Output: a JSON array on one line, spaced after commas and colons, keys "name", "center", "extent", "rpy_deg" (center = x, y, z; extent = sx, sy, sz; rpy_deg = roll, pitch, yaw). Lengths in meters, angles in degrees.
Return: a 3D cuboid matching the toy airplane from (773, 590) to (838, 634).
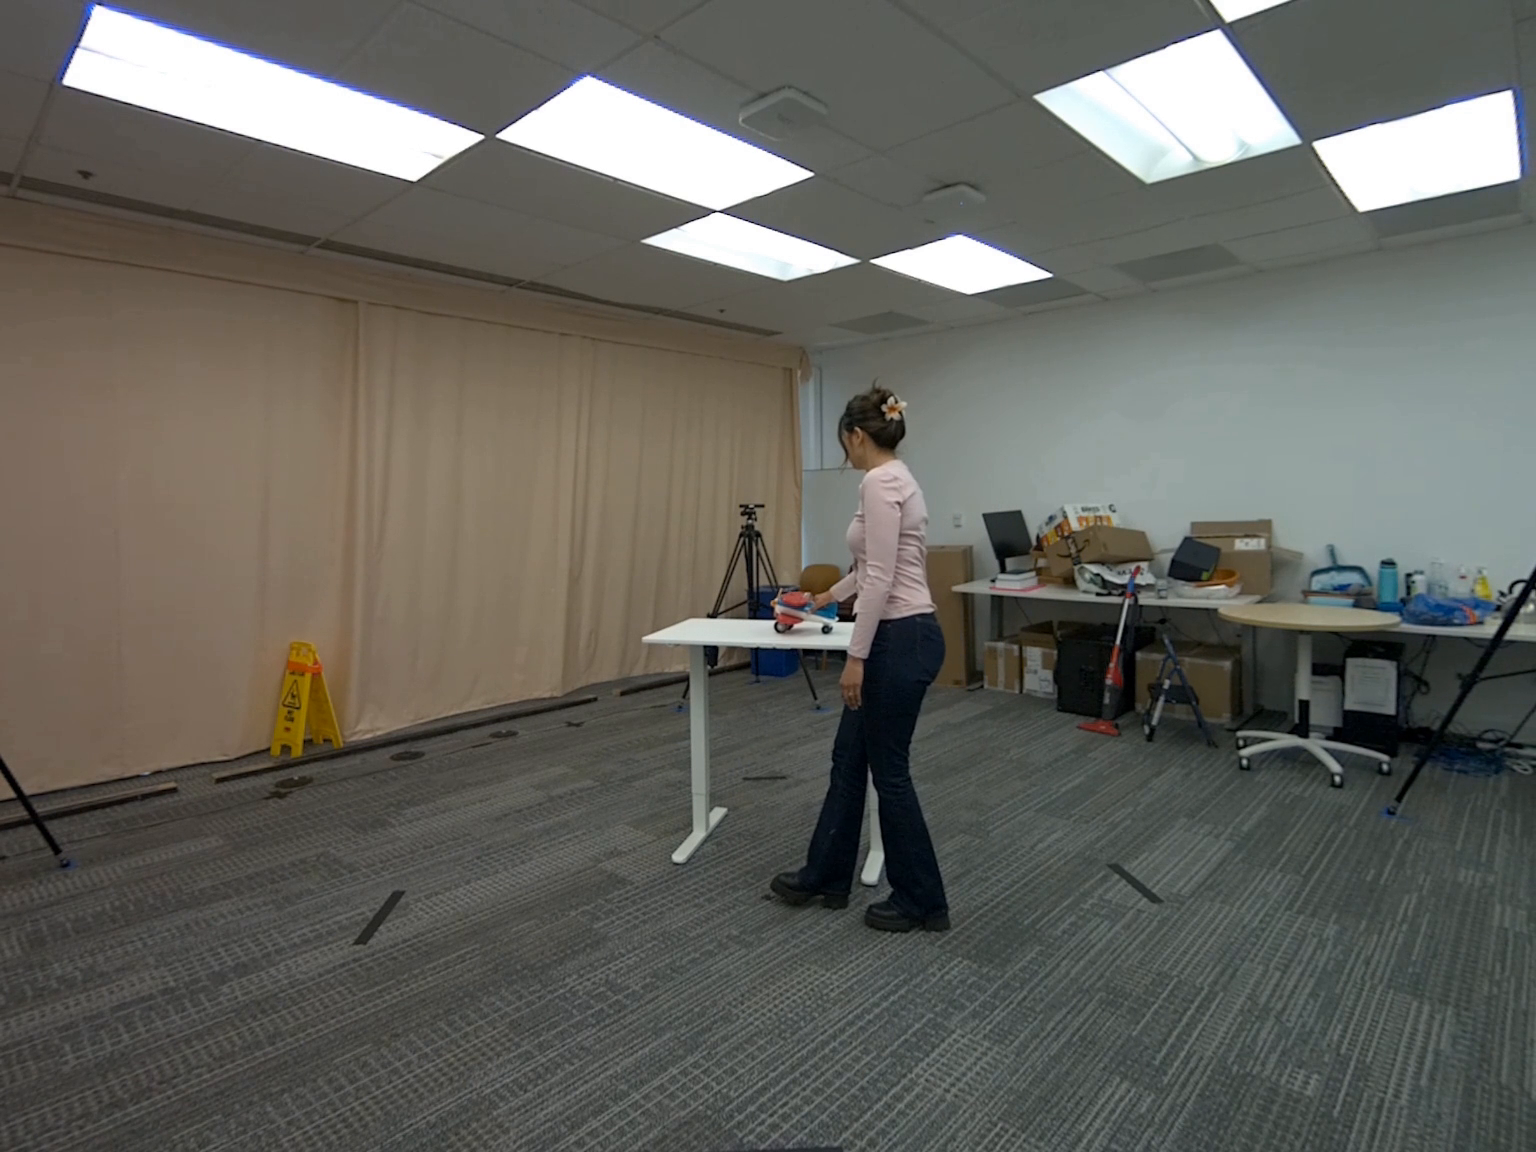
[{"name": "toy airplane", "center": [0.153, 0.147, 3.366], "extent": [0.257, 0.156, 0.254], "rpy_deg": [-2, 5, -9]}]
